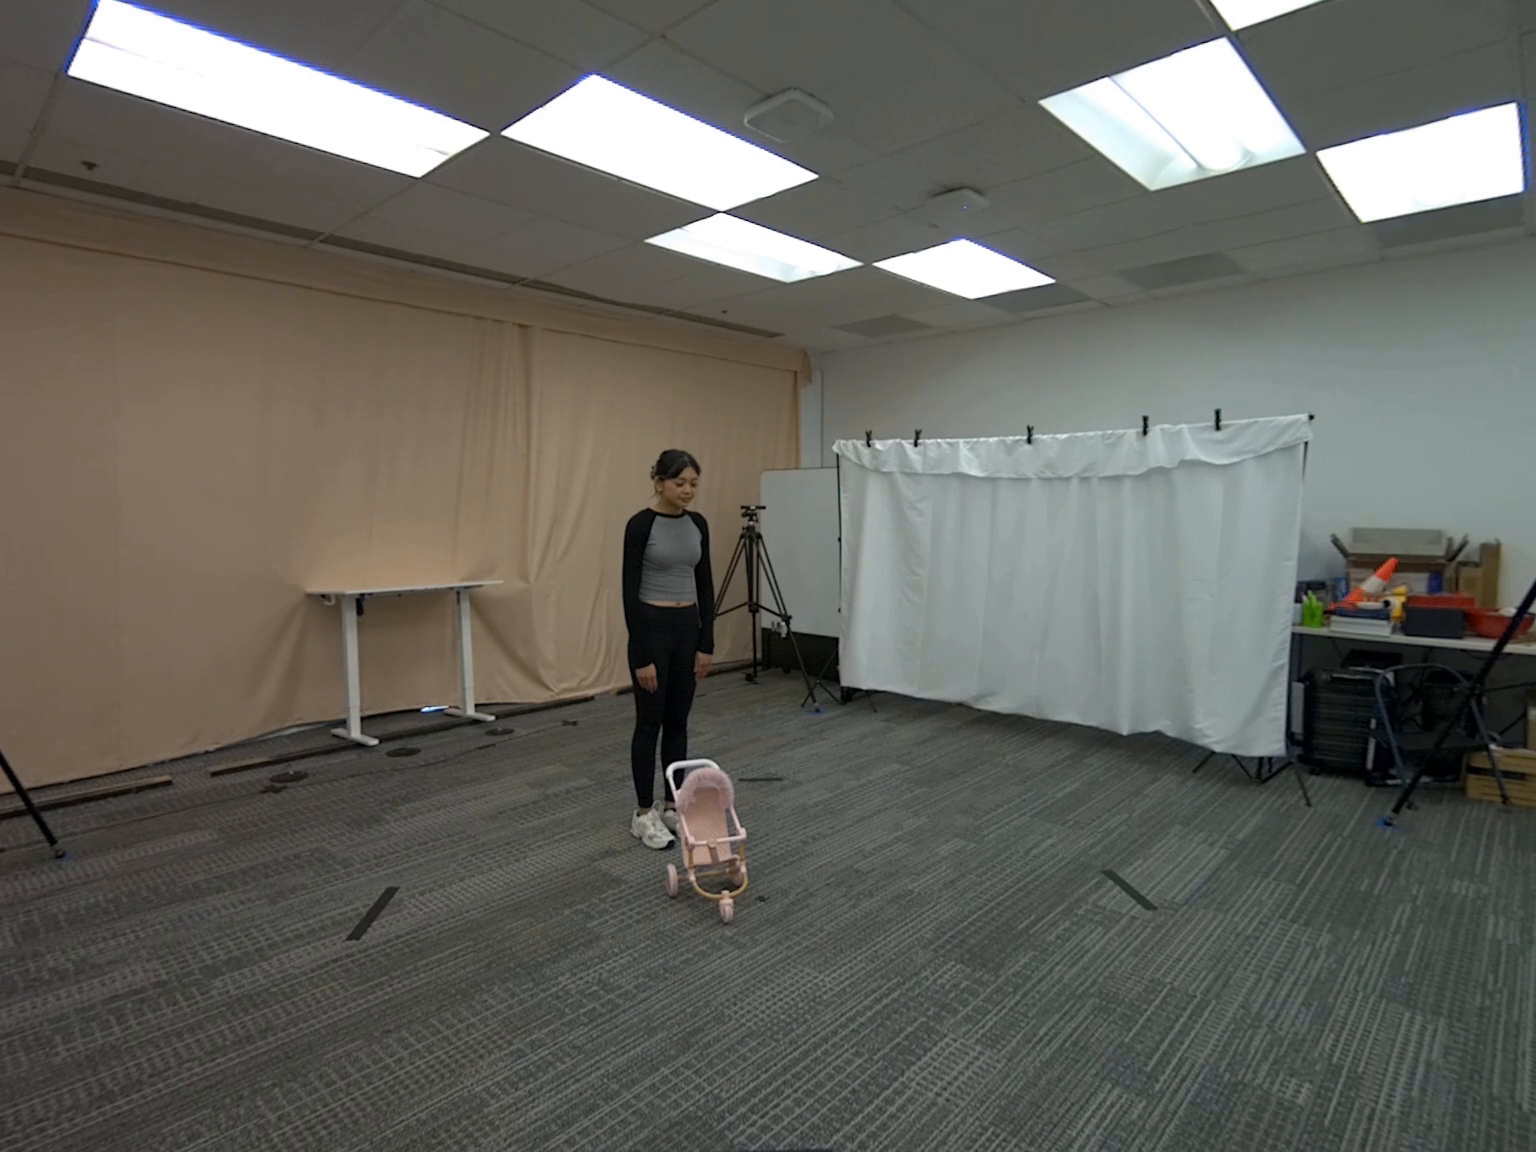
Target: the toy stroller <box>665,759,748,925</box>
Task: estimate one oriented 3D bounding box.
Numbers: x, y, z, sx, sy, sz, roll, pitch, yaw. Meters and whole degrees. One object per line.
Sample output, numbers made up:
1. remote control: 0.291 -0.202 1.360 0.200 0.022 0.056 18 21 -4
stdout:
1. toy stroller: -0.209 0.919 2.980 0.277 0.540 0.344 -2 -13 -17
